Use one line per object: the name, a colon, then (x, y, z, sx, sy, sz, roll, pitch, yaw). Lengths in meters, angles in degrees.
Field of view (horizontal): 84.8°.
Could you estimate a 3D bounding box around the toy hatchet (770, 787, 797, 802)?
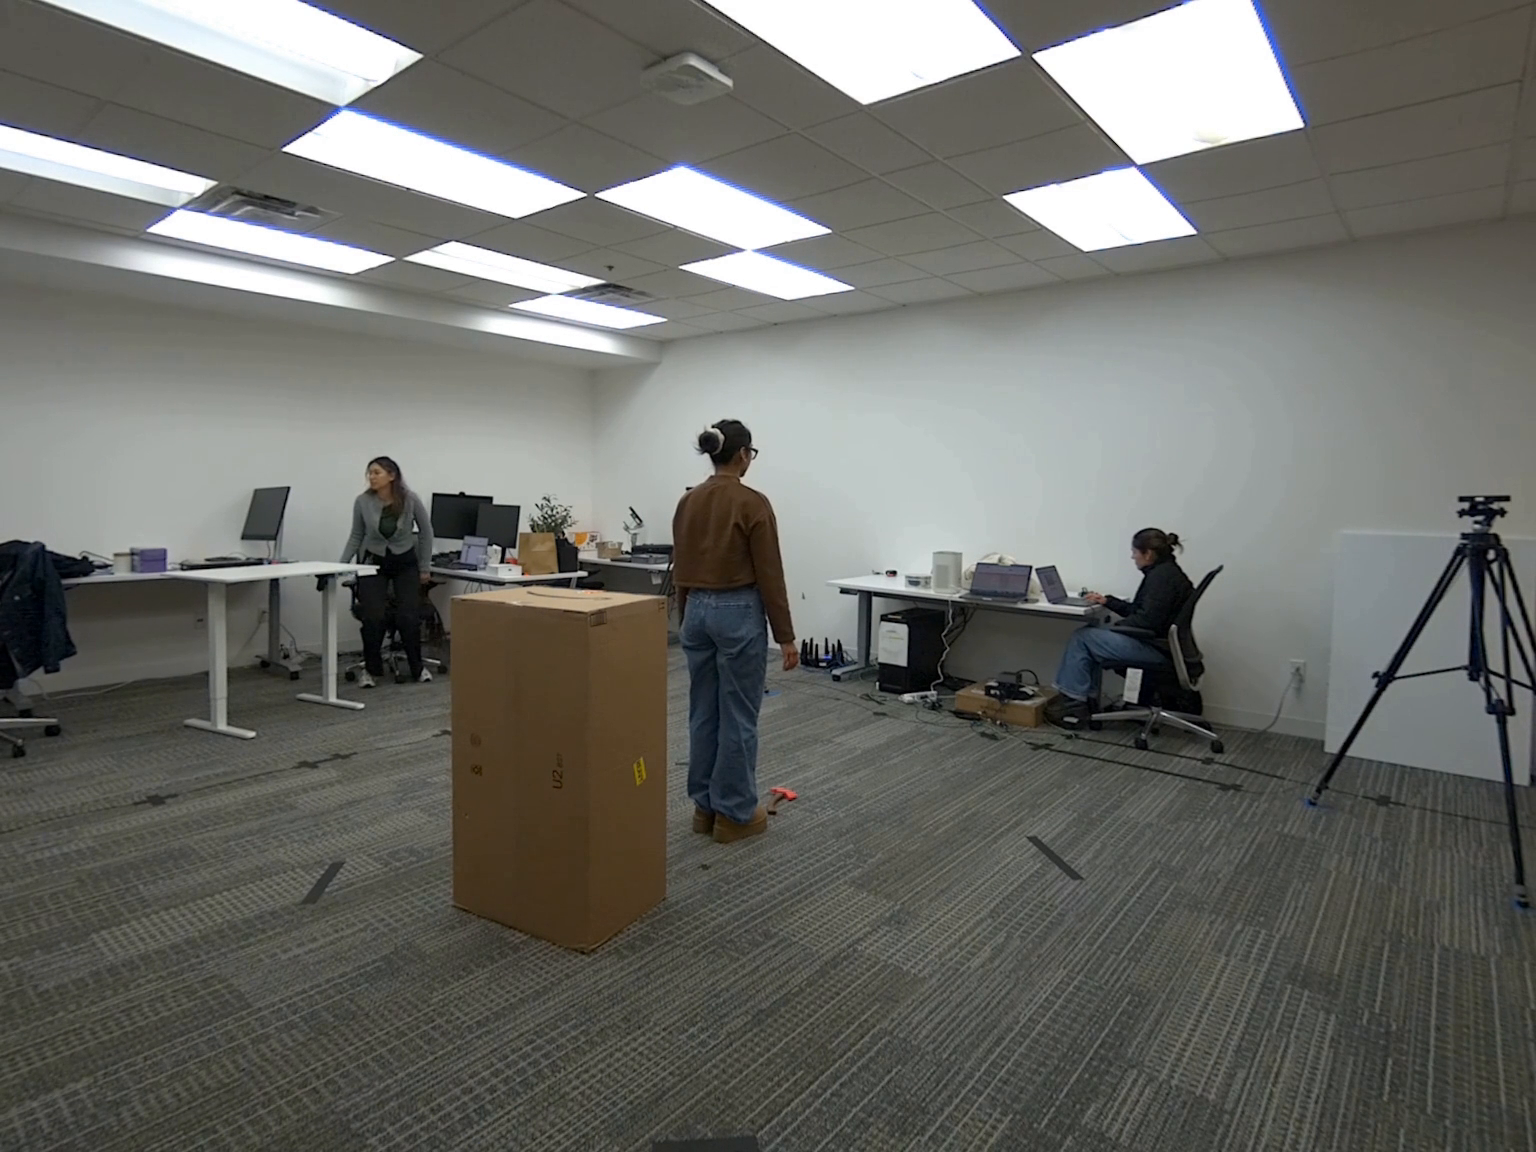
toy hatchet: (0.056, 0.997, 3.770, 0.132, 0.029, 0.270, 5, 8, 4)
